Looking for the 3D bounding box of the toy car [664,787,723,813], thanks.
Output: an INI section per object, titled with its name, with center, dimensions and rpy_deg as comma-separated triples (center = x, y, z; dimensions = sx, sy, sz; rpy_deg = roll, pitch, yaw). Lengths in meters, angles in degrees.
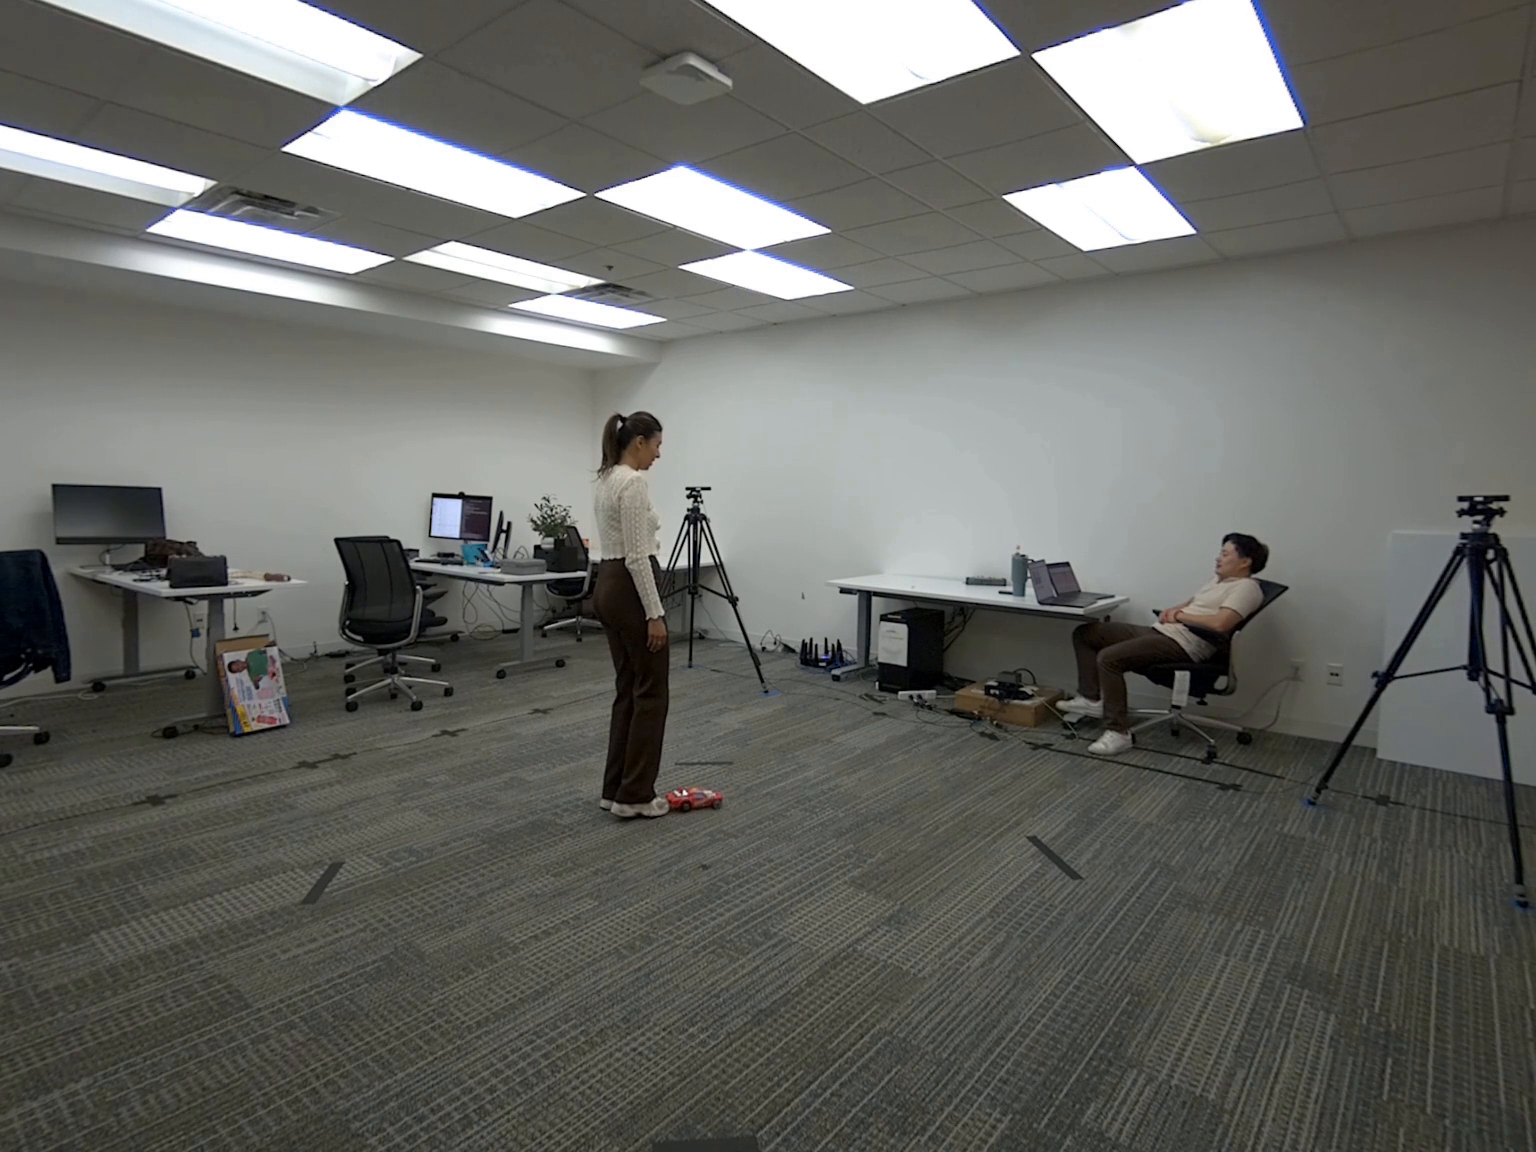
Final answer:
[toy car]
center = -0.338, 0.974, 3.707
dimensions = 0.248, 0.083, 0.134
rpy_deg = 12, 1, -22
